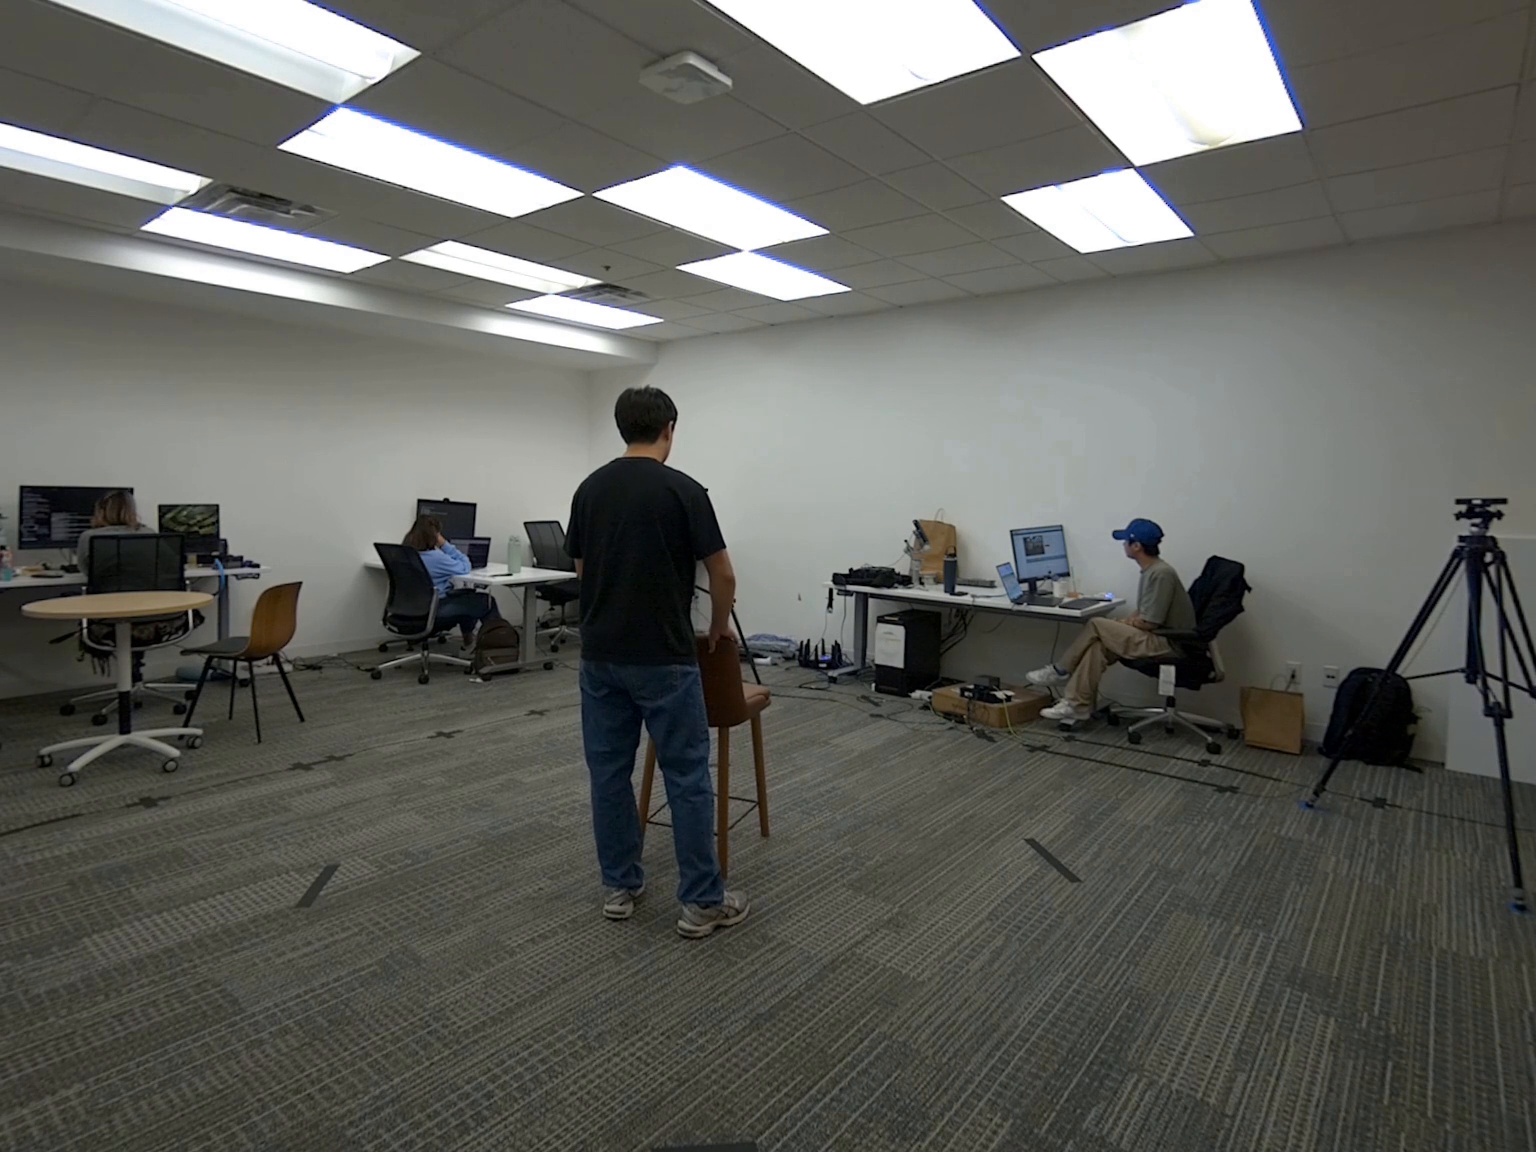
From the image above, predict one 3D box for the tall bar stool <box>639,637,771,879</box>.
[{"bbox_3d":[-0.261,0.612,3.277,0.467,0.886,0.459,2,5,22],"label":"tall bar stool"}]
